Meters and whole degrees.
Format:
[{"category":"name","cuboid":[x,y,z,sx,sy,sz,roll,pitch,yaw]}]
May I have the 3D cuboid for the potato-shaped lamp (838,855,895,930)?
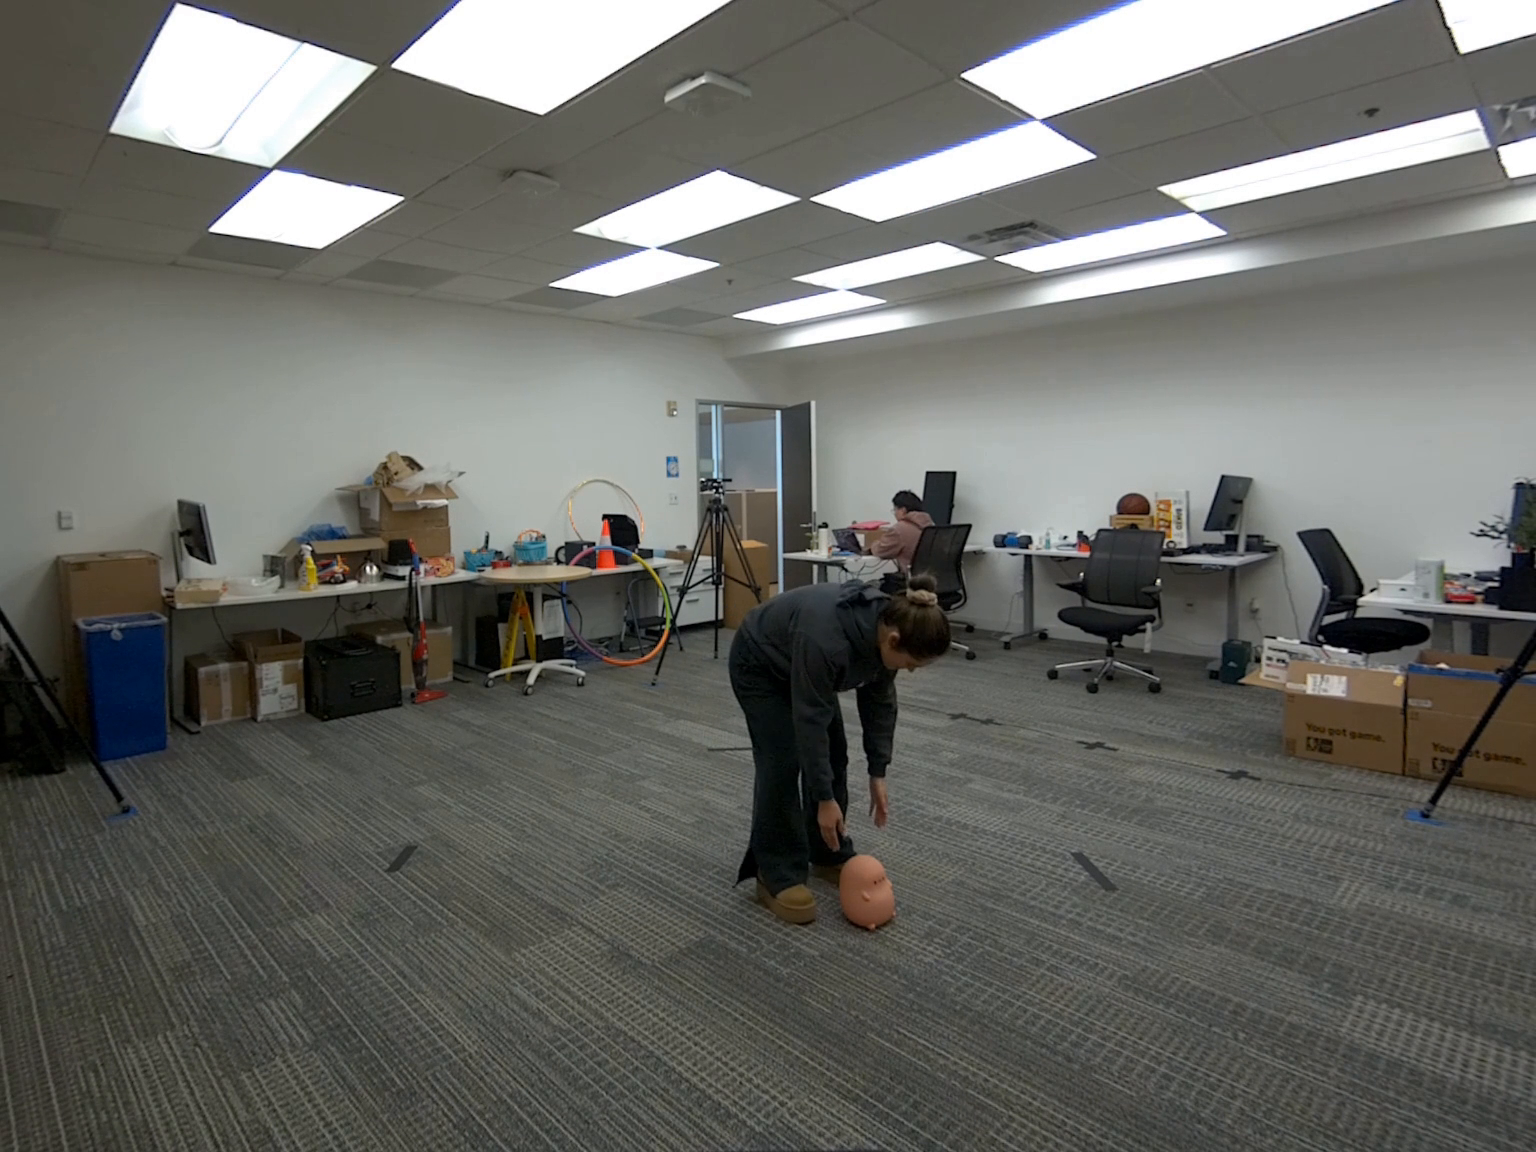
[{"category":"potato-shaped lamp","cuboid":[0.310,0.989,2.684,0.160,0.197,0.177,-7,8,-42]}]
